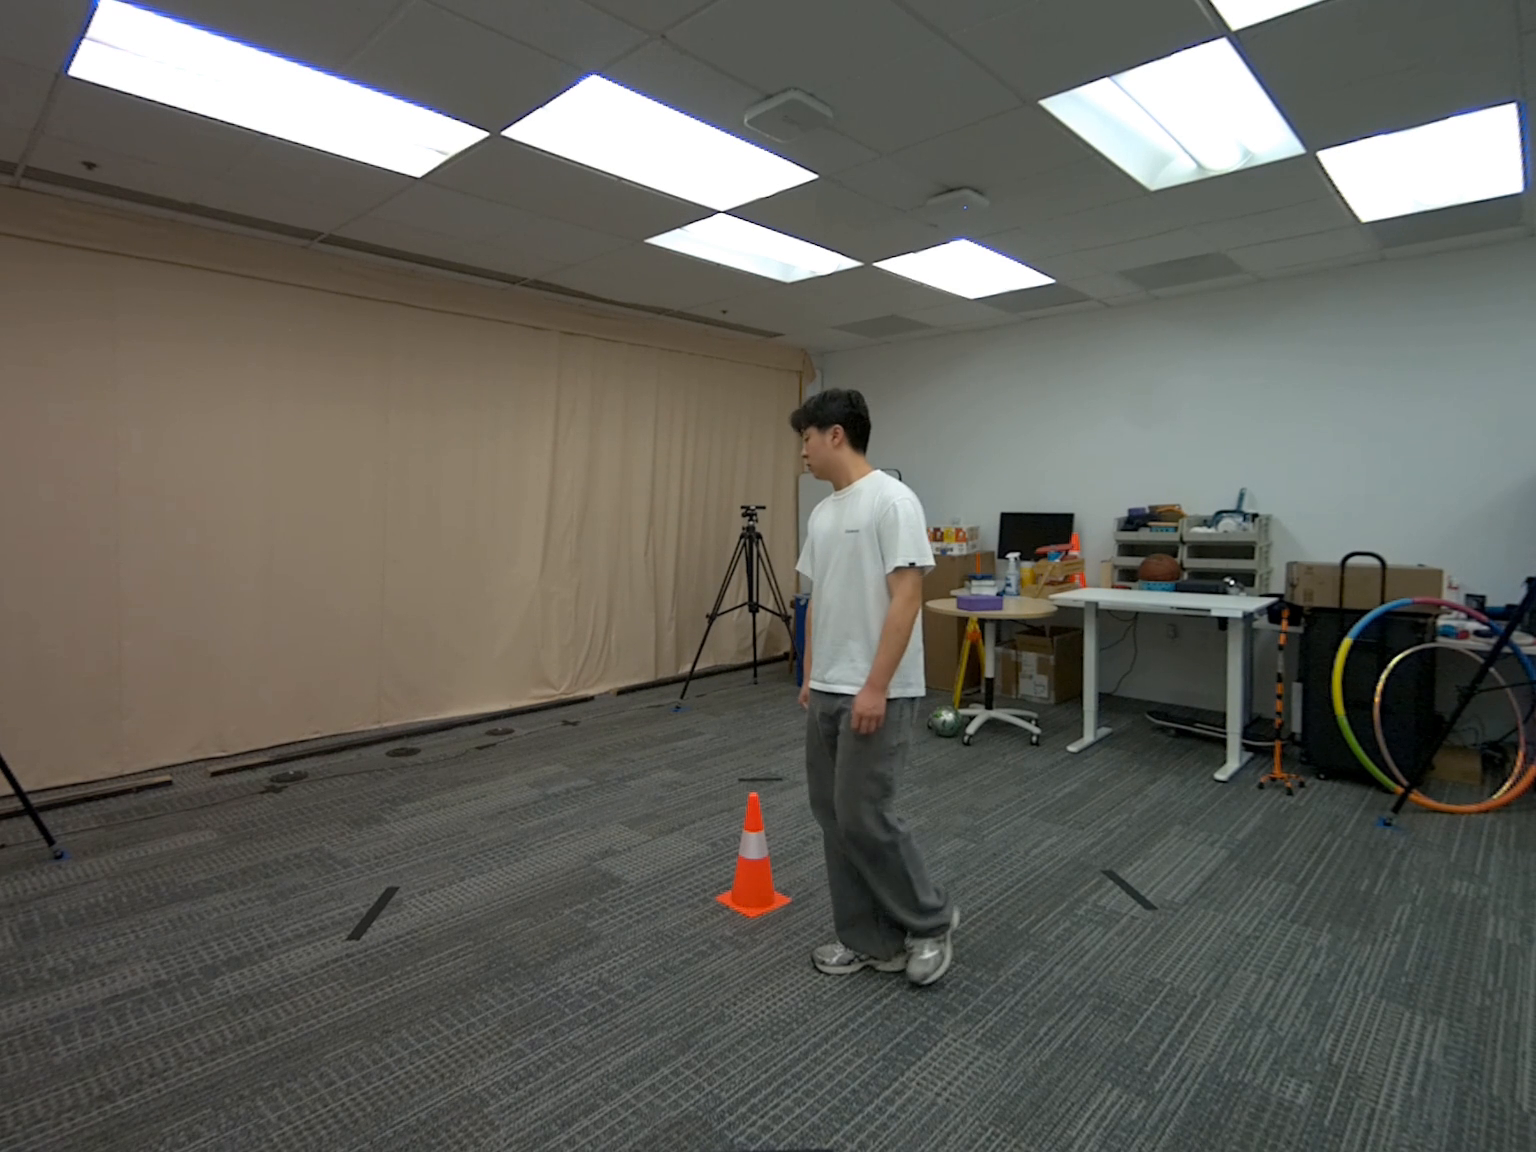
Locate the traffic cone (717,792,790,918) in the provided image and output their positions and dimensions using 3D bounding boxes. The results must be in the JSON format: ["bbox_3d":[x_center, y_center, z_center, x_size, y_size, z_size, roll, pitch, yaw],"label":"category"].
[{"bbox_3d":[-0.040,0.963,2.966,0.198,0.383,0.210,-2,5,-44],"label":"traffic cone"}]
